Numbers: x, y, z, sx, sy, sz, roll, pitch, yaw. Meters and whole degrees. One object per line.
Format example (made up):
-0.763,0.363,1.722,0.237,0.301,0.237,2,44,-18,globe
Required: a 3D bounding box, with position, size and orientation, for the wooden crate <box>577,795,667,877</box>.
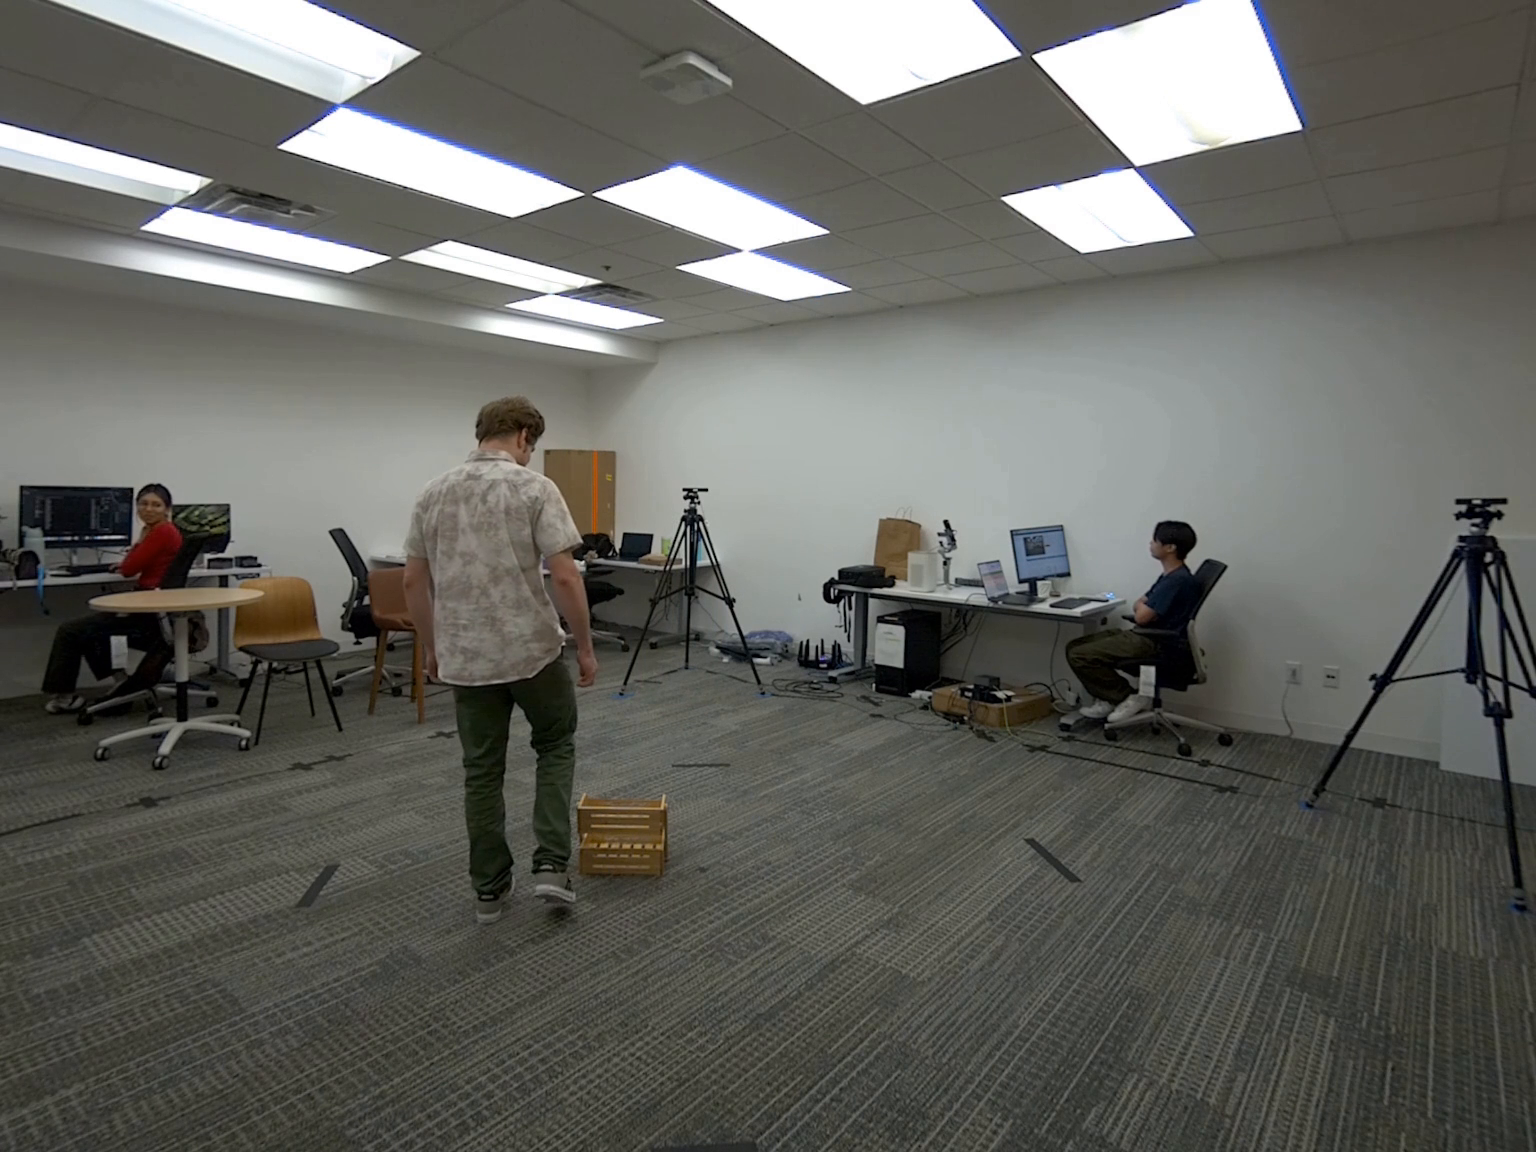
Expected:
-0.546,0.928,3.152,0.324,0.273,0.303,1,3,-3,wooden crate
